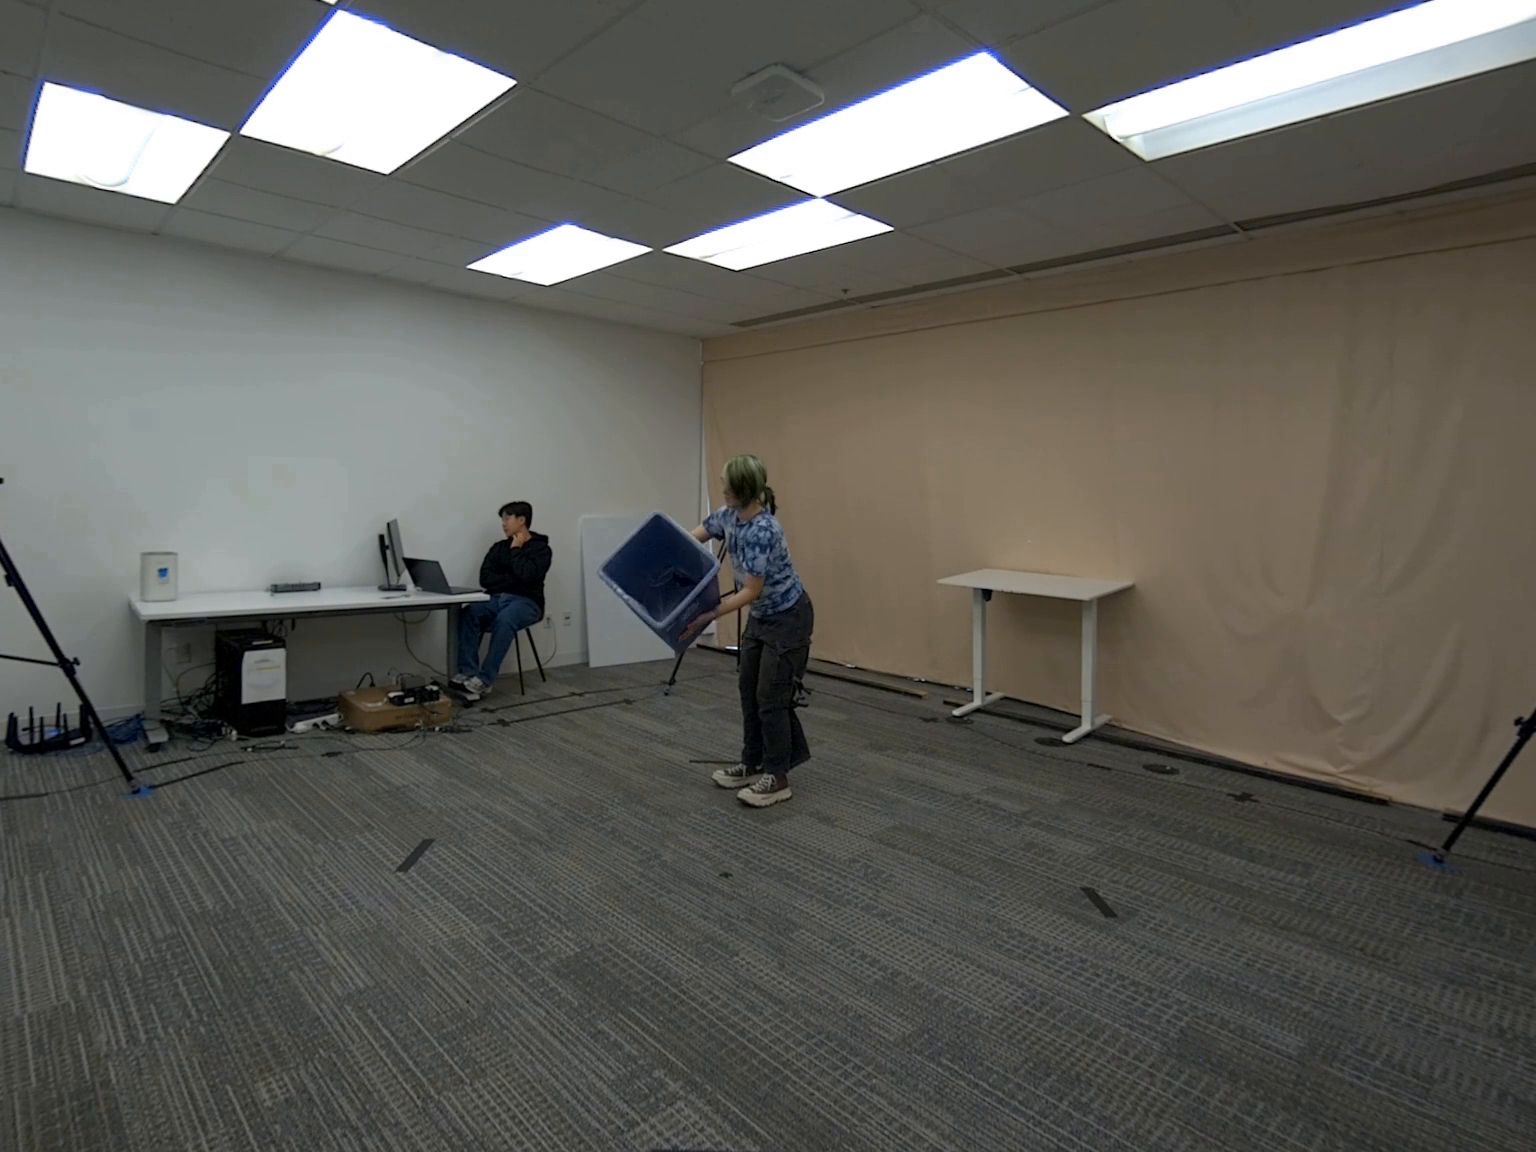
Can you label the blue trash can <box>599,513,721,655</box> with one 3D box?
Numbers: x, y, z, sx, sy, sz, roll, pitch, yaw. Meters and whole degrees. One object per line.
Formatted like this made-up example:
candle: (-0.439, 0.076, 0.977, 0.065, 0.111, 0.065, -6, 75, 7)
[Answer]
blue trash can: (-0.437, 0.063, 3.663, 0.384, 0.374, 0.703, 41, -11, 12)
